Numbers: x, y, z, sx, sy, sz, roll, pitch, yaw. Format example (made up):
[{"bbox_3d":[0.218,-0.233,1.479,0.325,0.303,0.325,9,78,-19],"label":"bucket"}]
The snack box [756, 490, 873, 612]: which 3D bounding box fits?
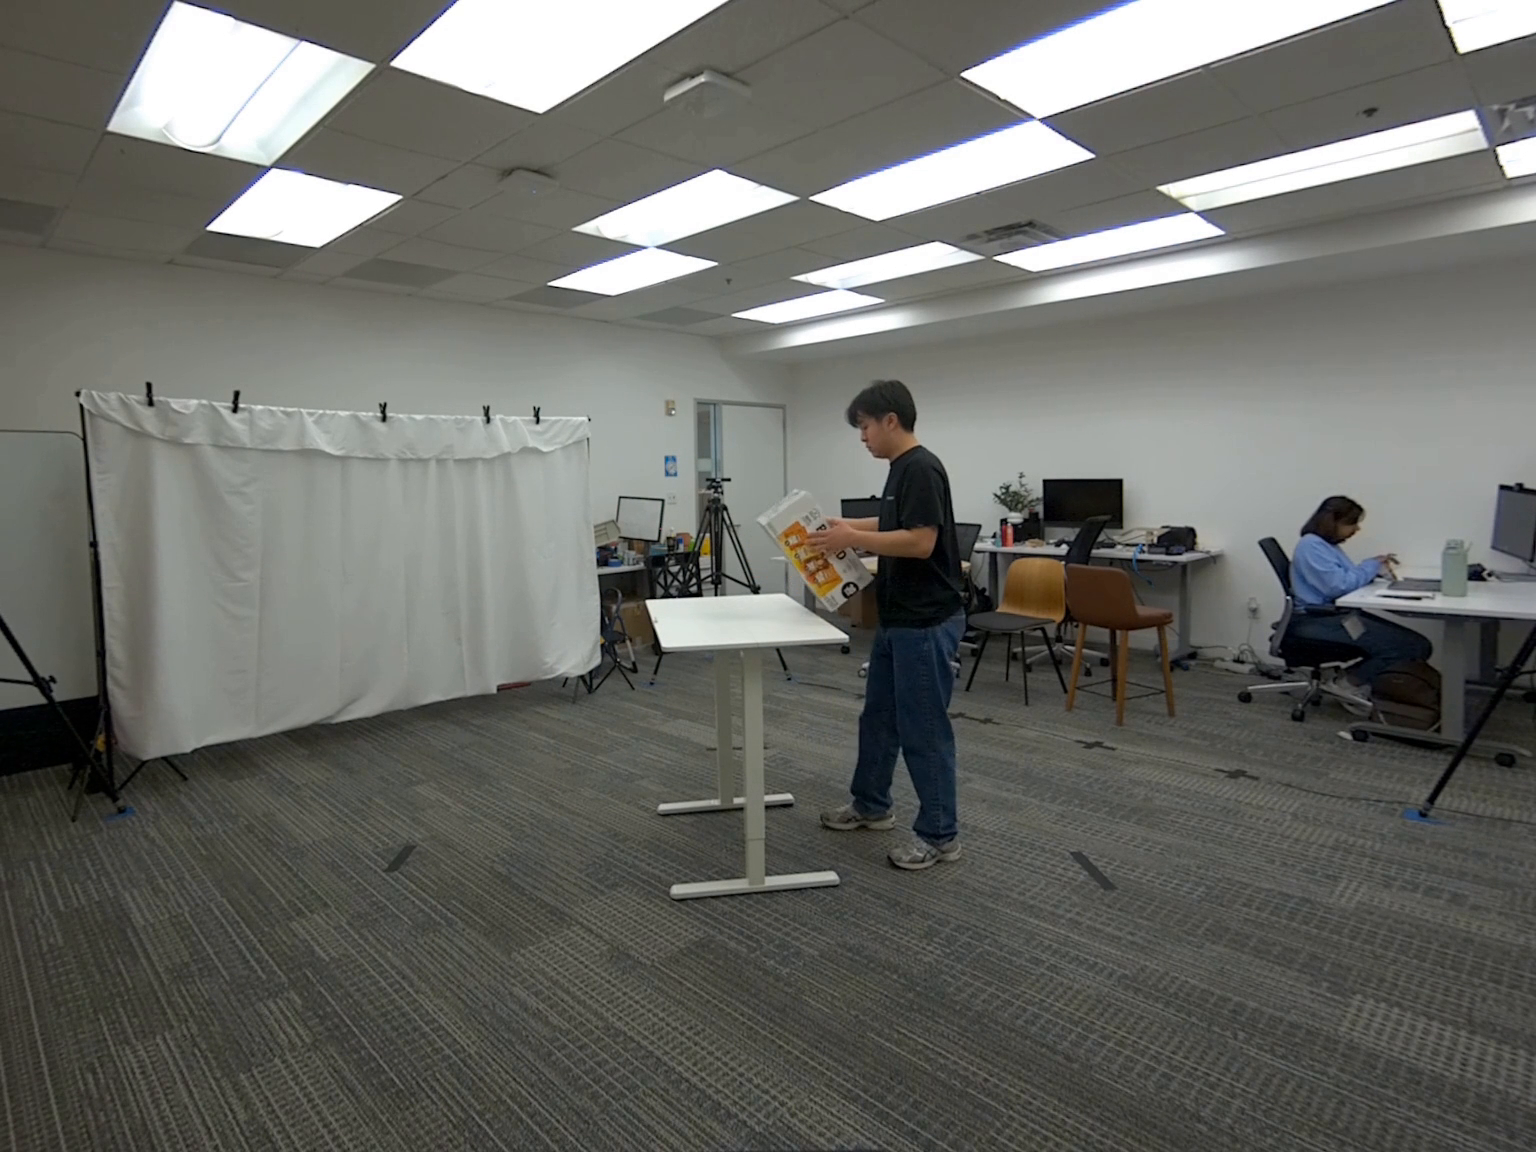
[{"bbox_3d":[0.171,-0.106,3.238,0.206,0.402,0.343,-38,6,0],"label":"snack box"}]
